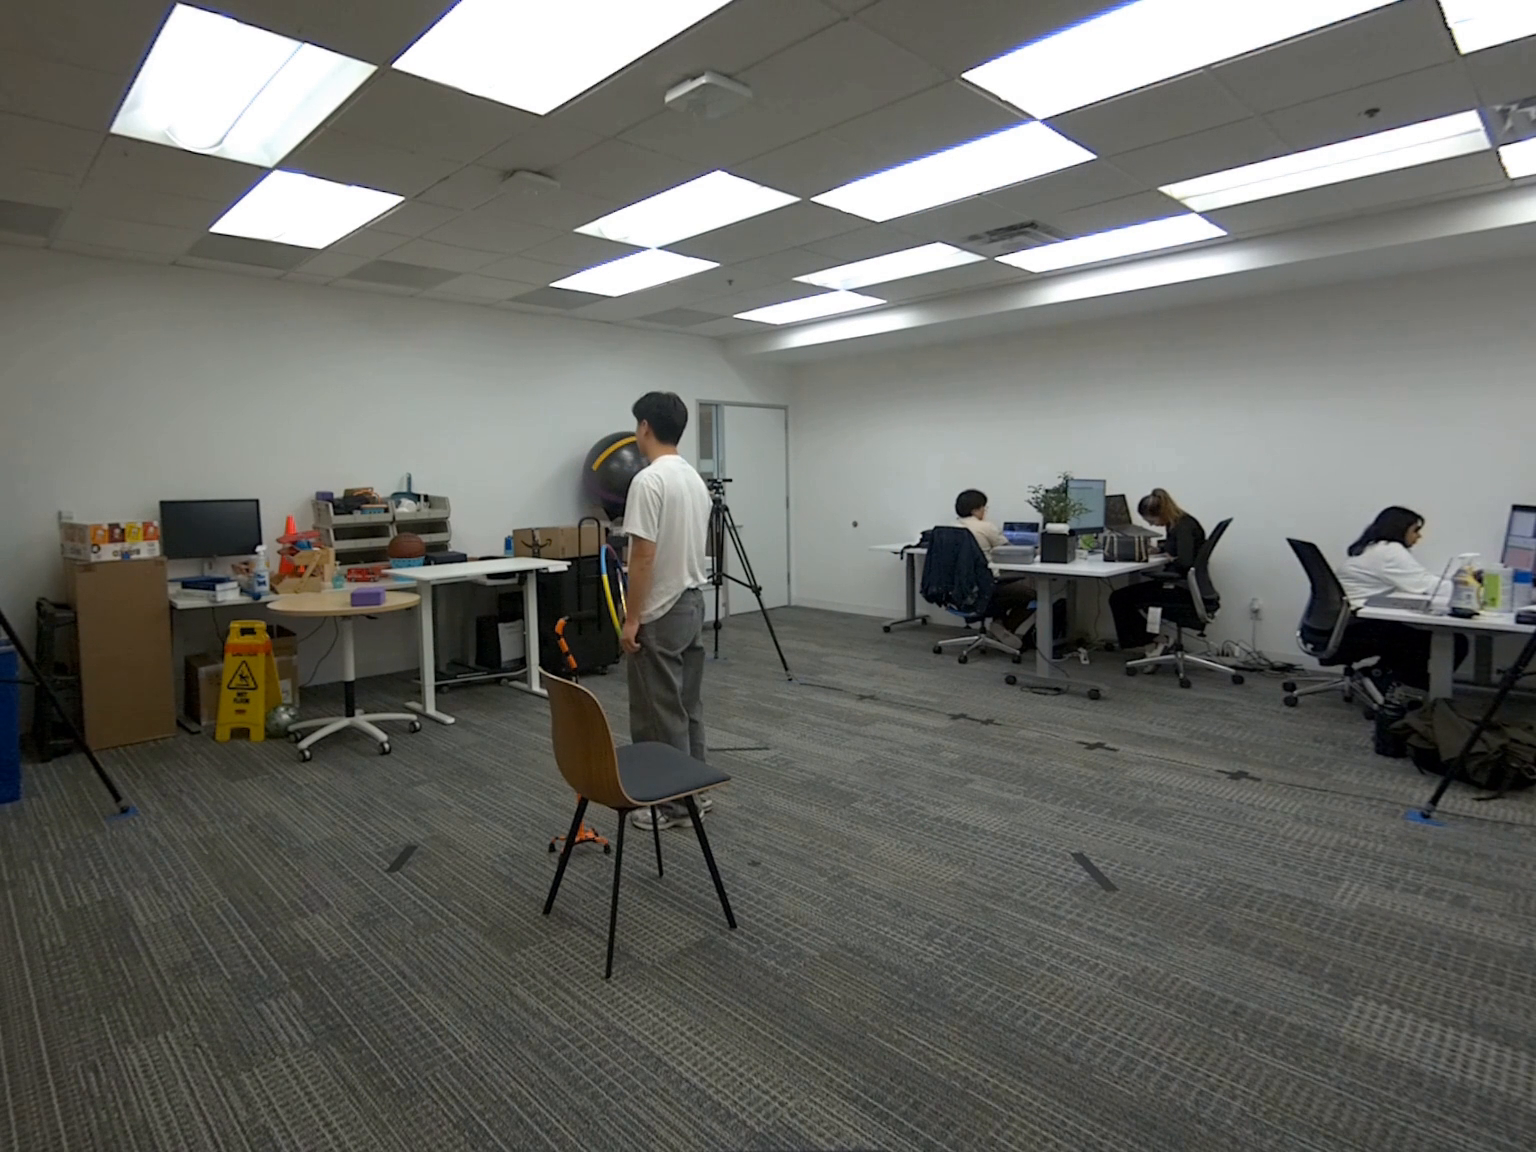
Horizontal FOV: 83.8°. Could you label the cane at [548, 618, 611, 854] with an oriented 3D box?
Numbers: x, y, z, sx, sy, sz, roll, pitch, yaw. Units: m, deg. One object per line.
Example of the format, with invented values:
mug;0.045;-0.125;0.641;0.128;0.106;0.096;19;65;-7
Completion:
cane;-0.730;0.596;3.207;0.201;0.904;0.156;-4;5;-33
